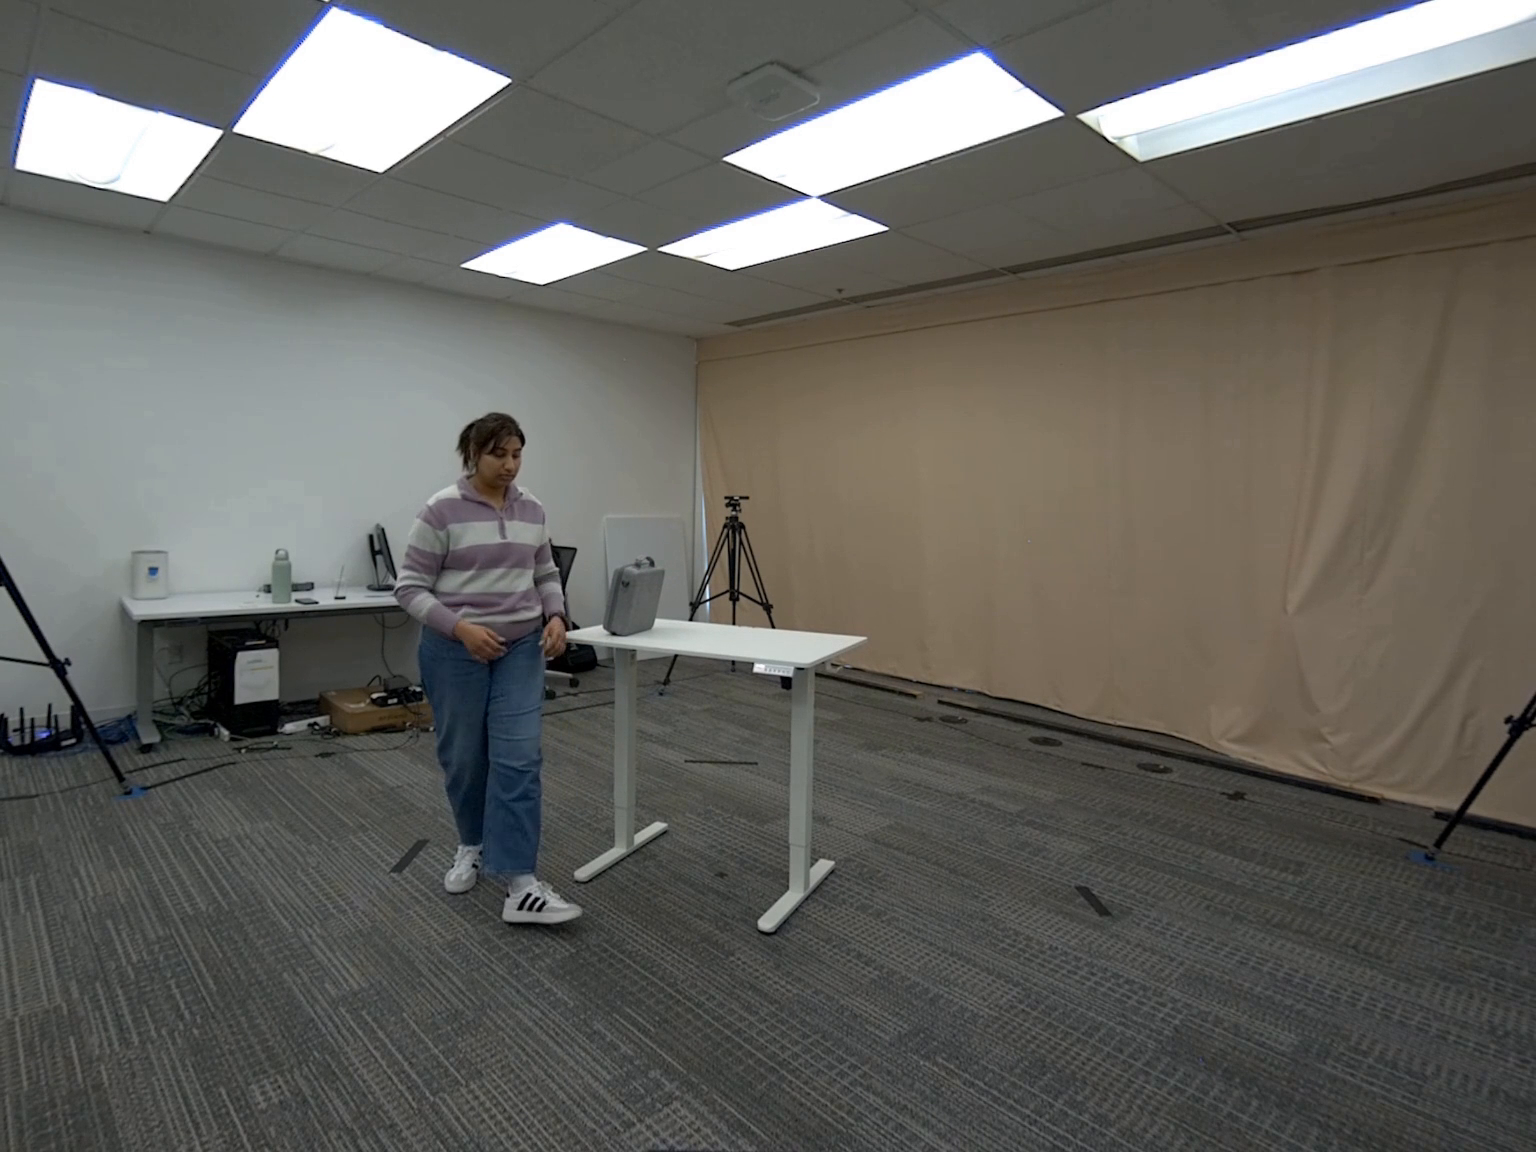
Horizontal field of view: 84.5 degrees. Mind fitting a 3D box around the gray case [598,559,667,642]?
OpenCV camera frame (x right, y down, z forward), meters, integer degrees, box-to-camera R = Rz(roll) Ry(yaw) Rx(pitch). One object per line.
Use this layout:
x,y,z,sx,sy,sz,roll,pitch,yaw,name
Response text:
-0.501,0.083,3.144,0.106,0.259,0.254,13,8,17,gray case
